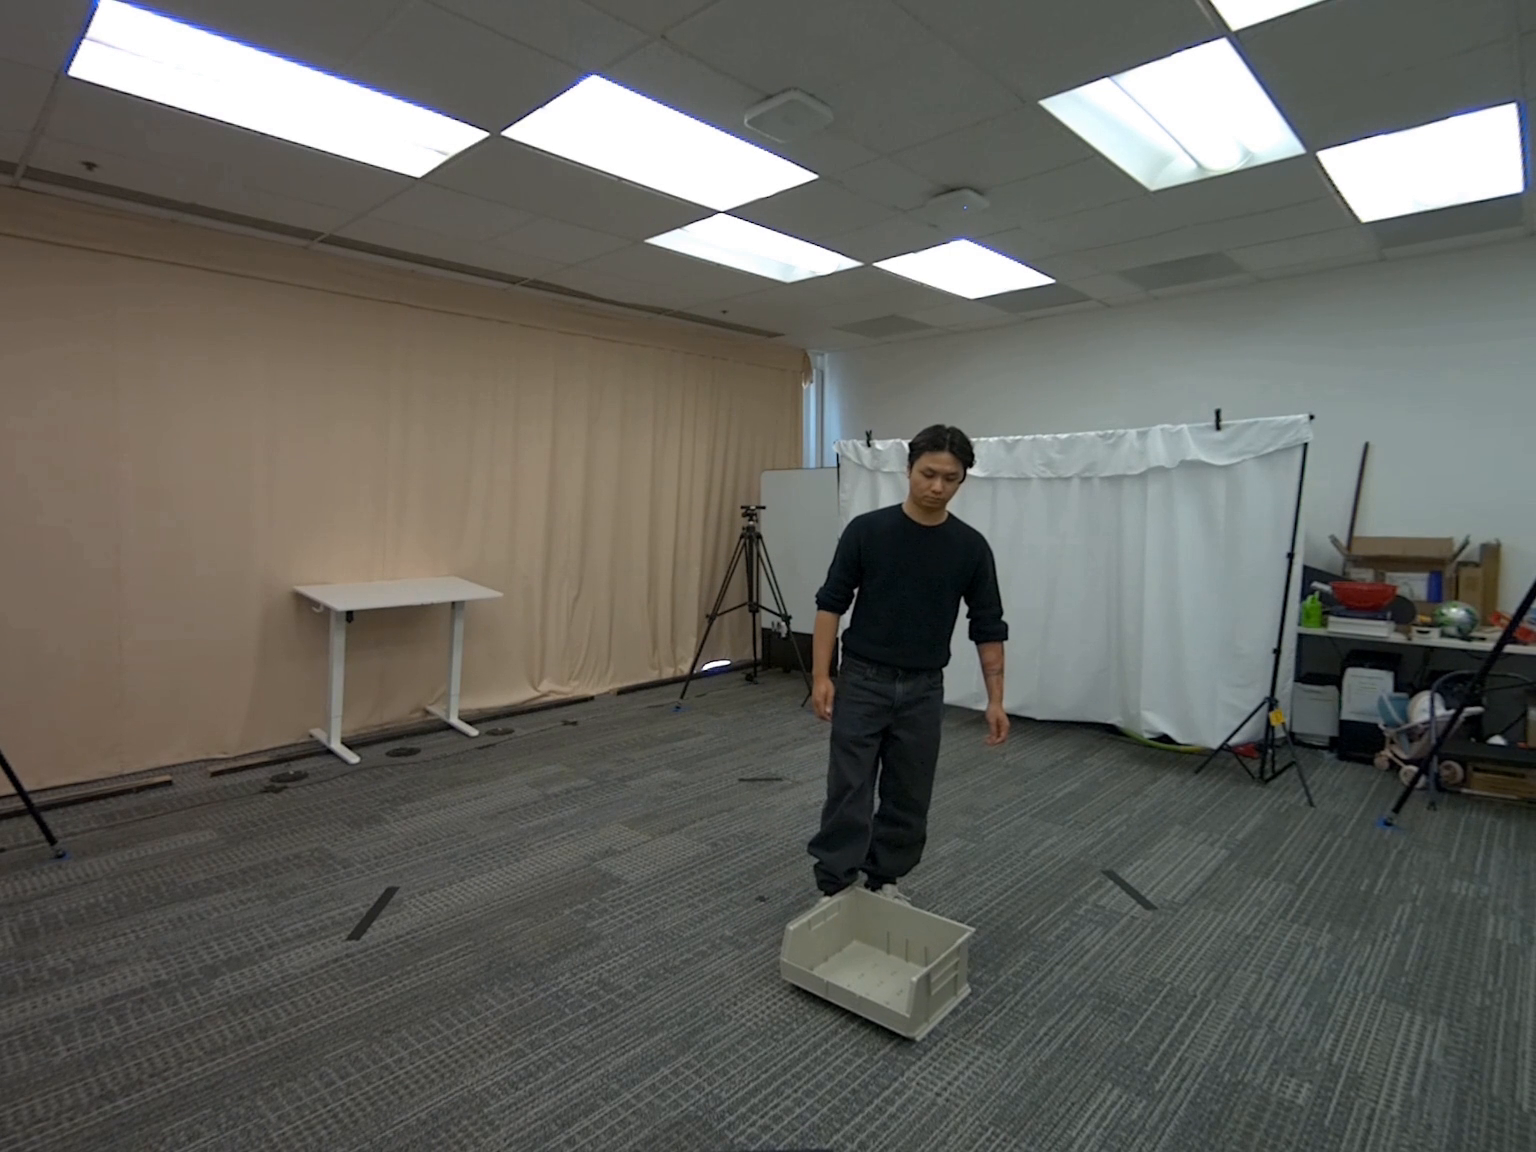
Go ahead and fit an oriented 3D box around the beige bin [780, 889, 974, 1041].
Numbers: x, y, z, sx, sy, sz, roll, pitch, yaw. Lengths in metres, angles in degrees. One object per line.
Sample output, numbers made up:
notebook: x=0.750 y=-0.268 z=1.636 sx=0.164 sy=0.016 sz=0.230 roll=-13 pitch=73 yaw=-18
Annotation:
beige bin: x=0.313 y=1.102 z=2.416 sx=0.436 sy=0.189 sz=0.366 roll=3 pitch=4 yaw=40
